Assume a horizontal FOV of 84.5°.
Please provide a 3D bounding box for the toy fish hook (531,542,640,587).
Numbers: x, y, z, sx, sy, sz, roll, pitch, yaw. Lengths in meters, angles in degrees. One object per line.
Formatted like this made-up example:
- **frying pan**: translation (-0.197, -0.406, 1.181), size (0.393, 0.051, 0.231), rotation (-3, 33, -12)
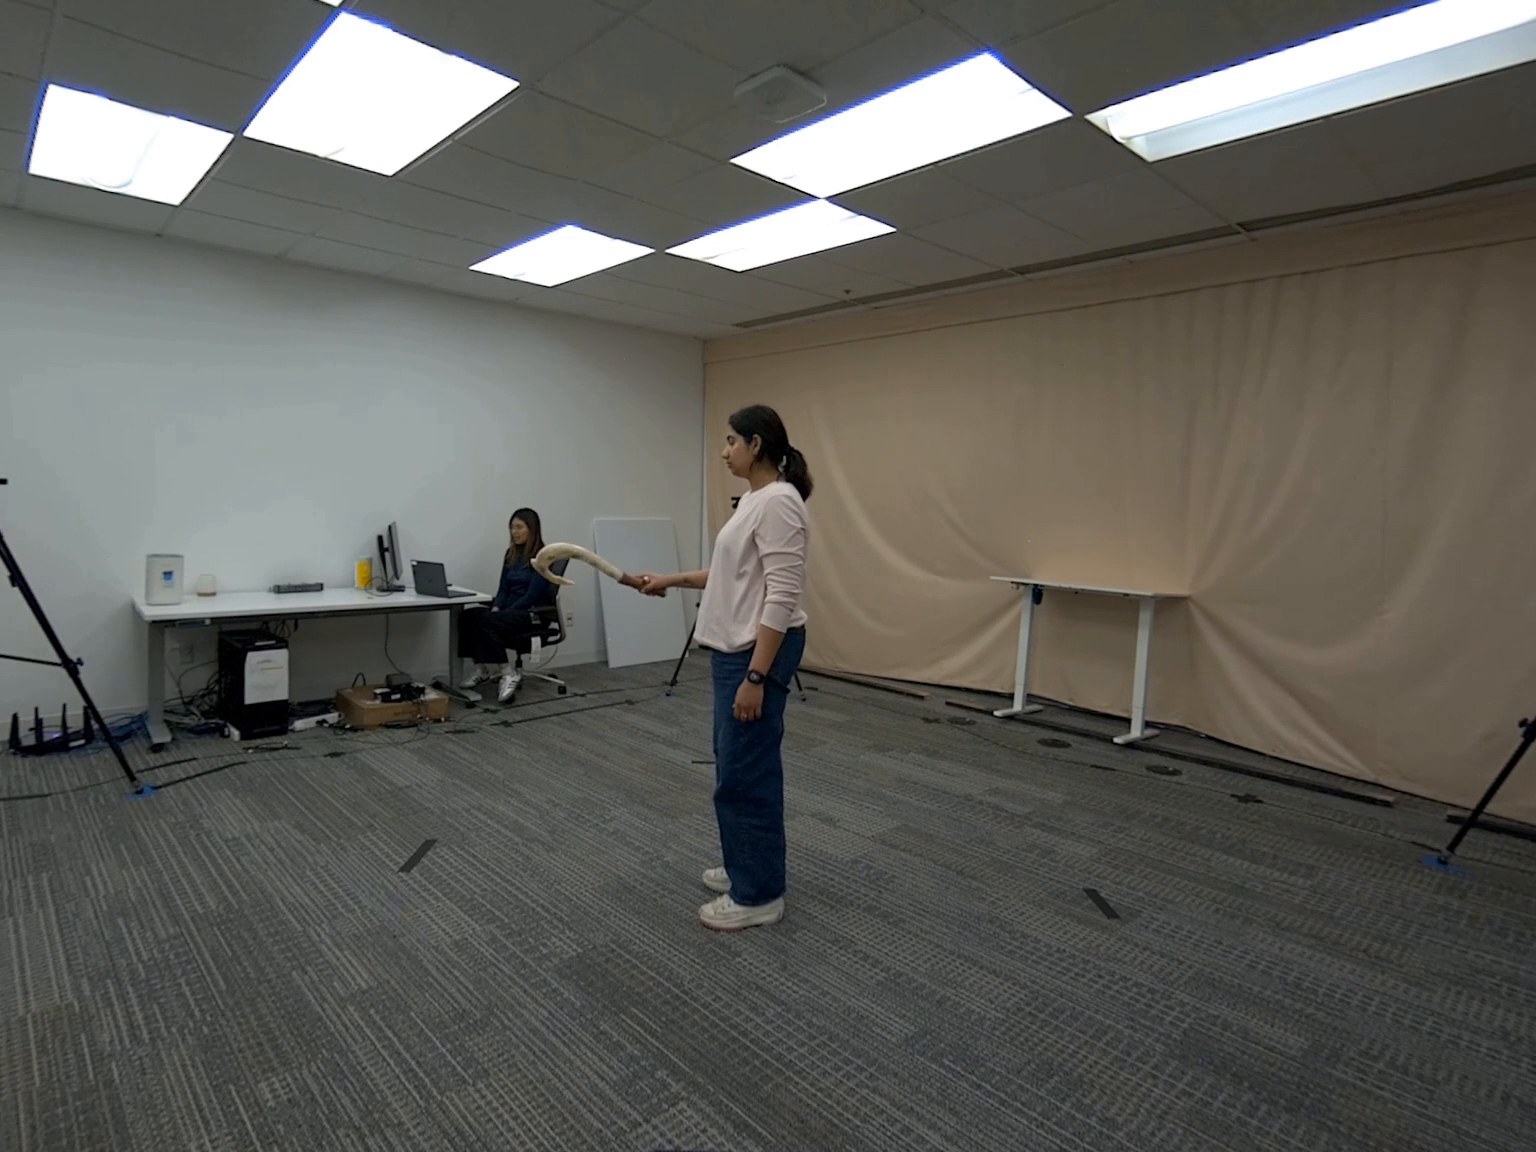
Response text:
- **toy fish hook**: translation (-0.605, -0.009, 3.029), size (0.493, 0.049, 0.226), rotation (25, -43, -31)
